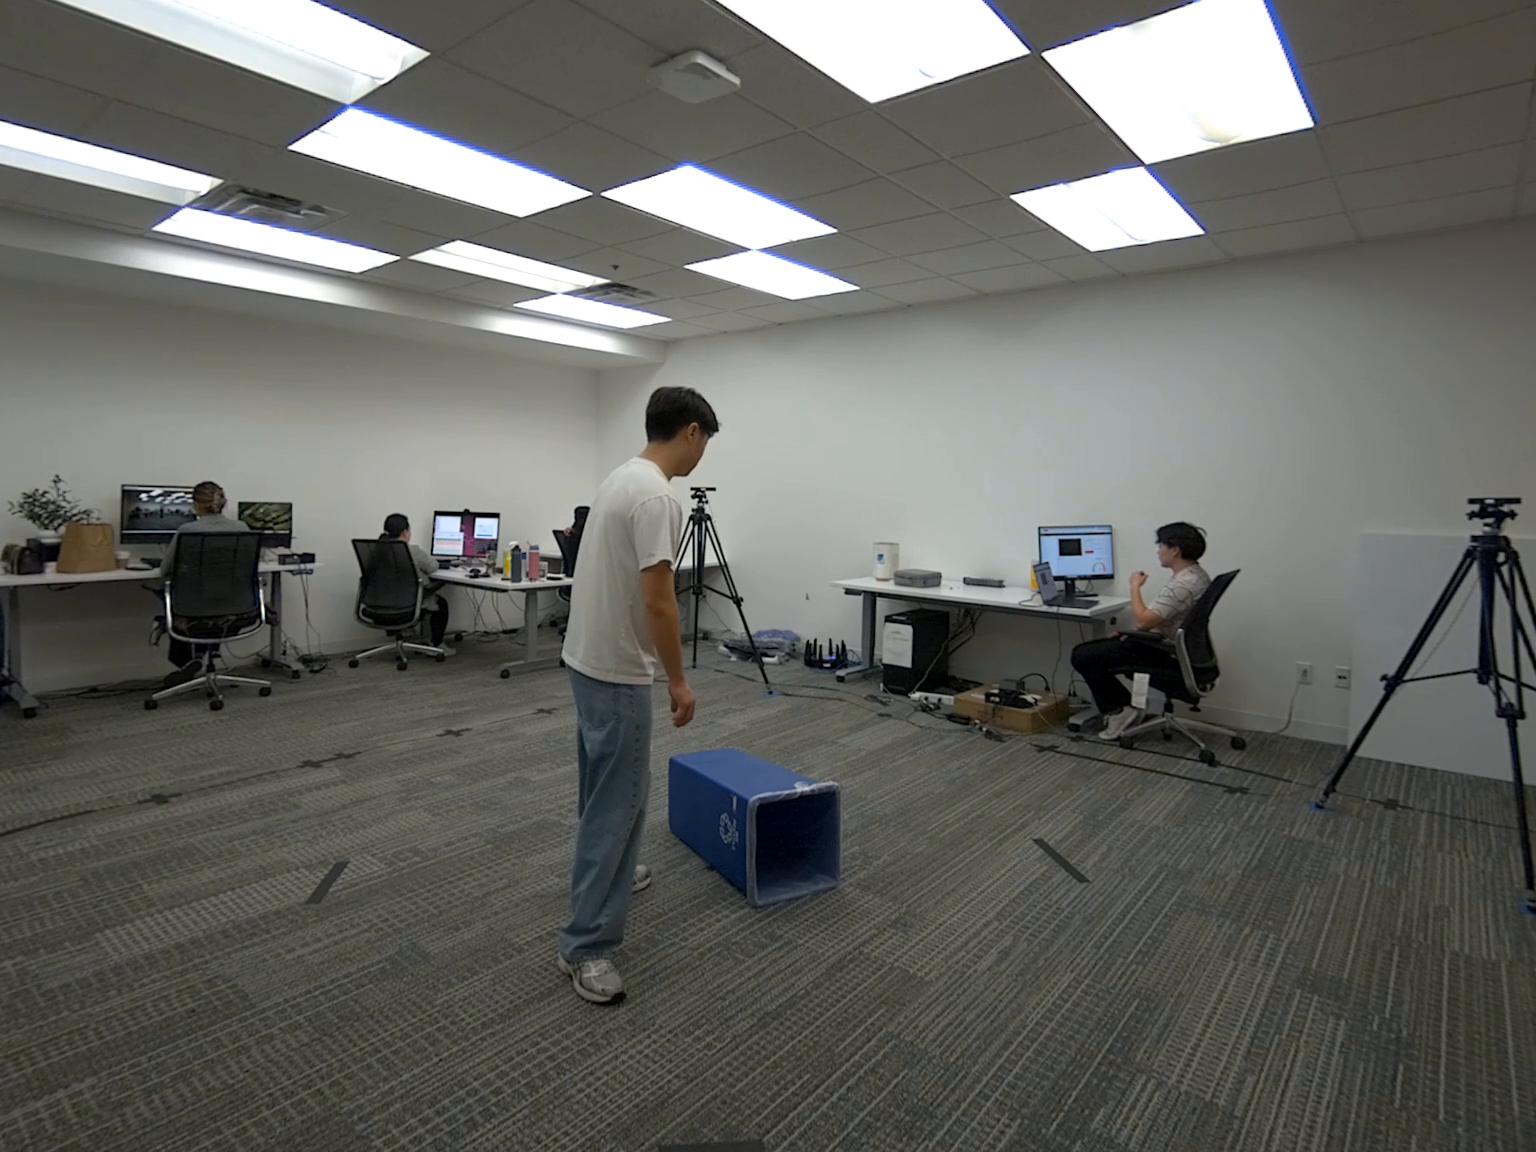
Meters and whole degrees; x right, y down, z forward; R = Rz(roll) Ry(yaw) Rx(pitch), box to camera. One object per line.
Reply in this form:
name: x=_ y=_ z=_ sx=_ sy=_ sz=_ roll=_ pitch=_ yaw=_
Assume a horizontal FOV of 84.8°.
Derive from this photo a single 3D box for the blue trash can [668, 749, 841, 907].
blue trash can: x=-0.101 y=0.895 z=3.198 sx=0.364 sy=0.377 sz=0.734 roll=-1 pitch=3 yaw=-32
